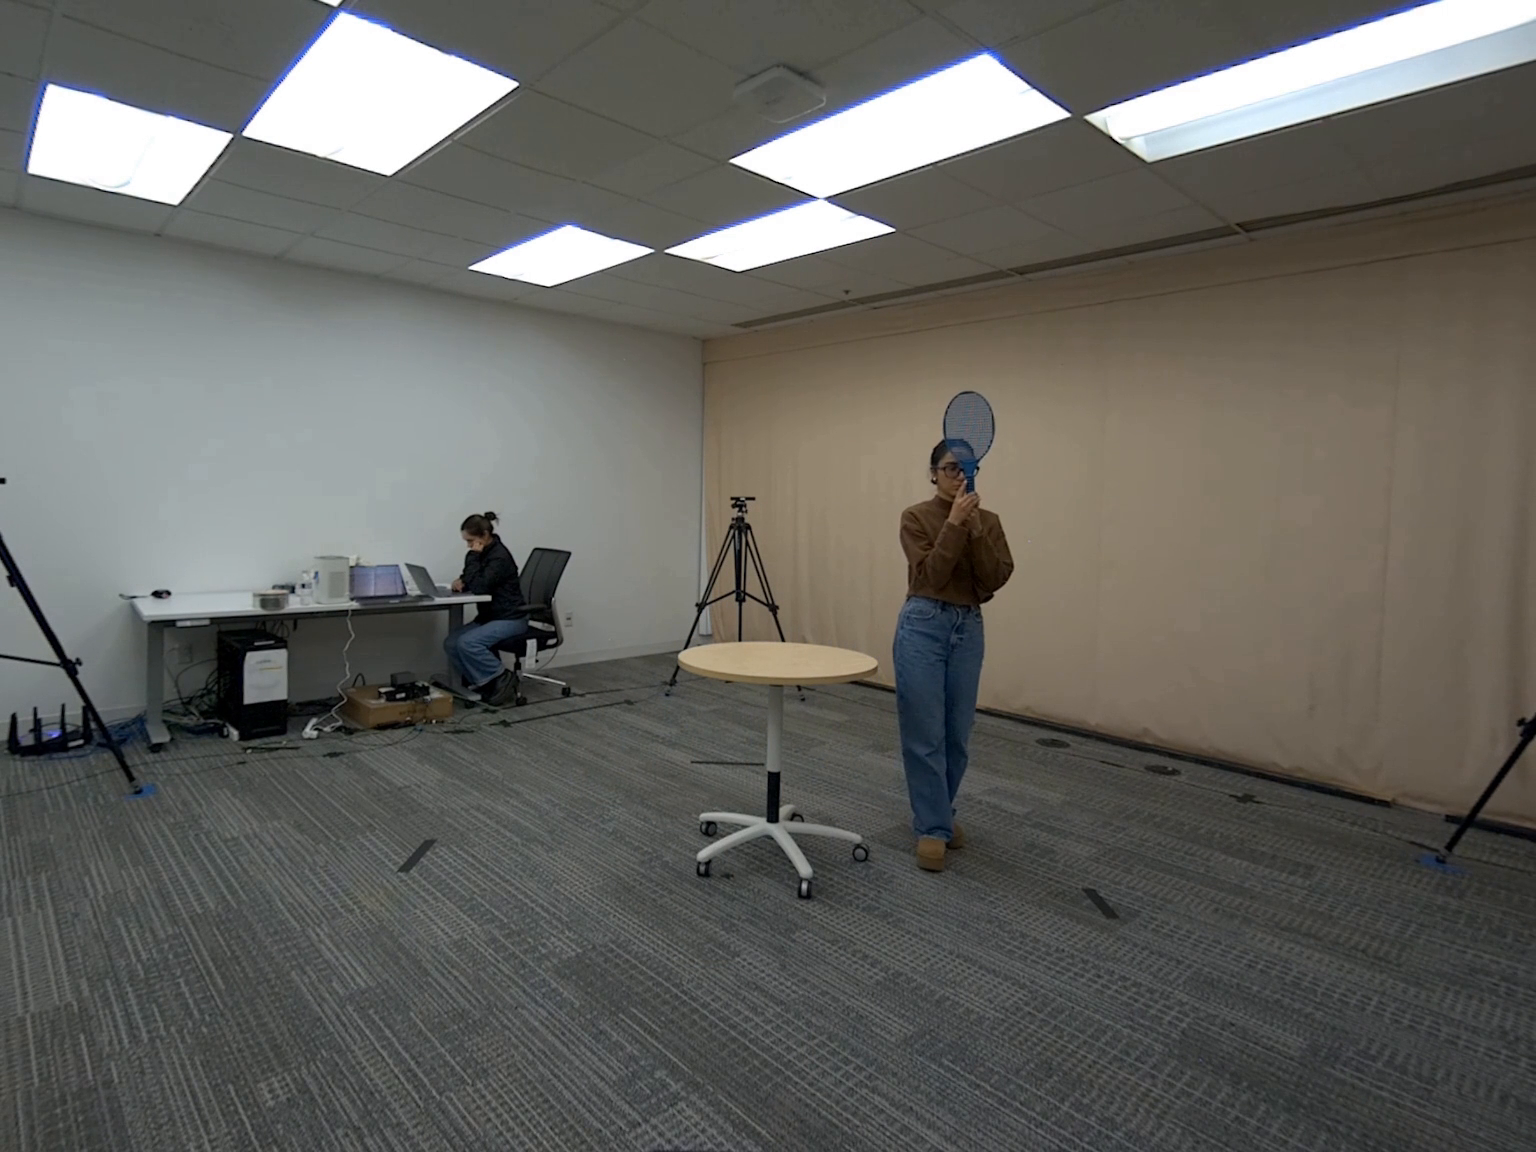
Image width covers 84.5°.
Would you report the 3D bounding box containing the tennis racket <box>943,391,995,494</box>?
[{"bbox_3d":[0.740,-0.476,3.164,0.031,0.430,0.219,-12,12,-43],"label":"tennis racket"}]
